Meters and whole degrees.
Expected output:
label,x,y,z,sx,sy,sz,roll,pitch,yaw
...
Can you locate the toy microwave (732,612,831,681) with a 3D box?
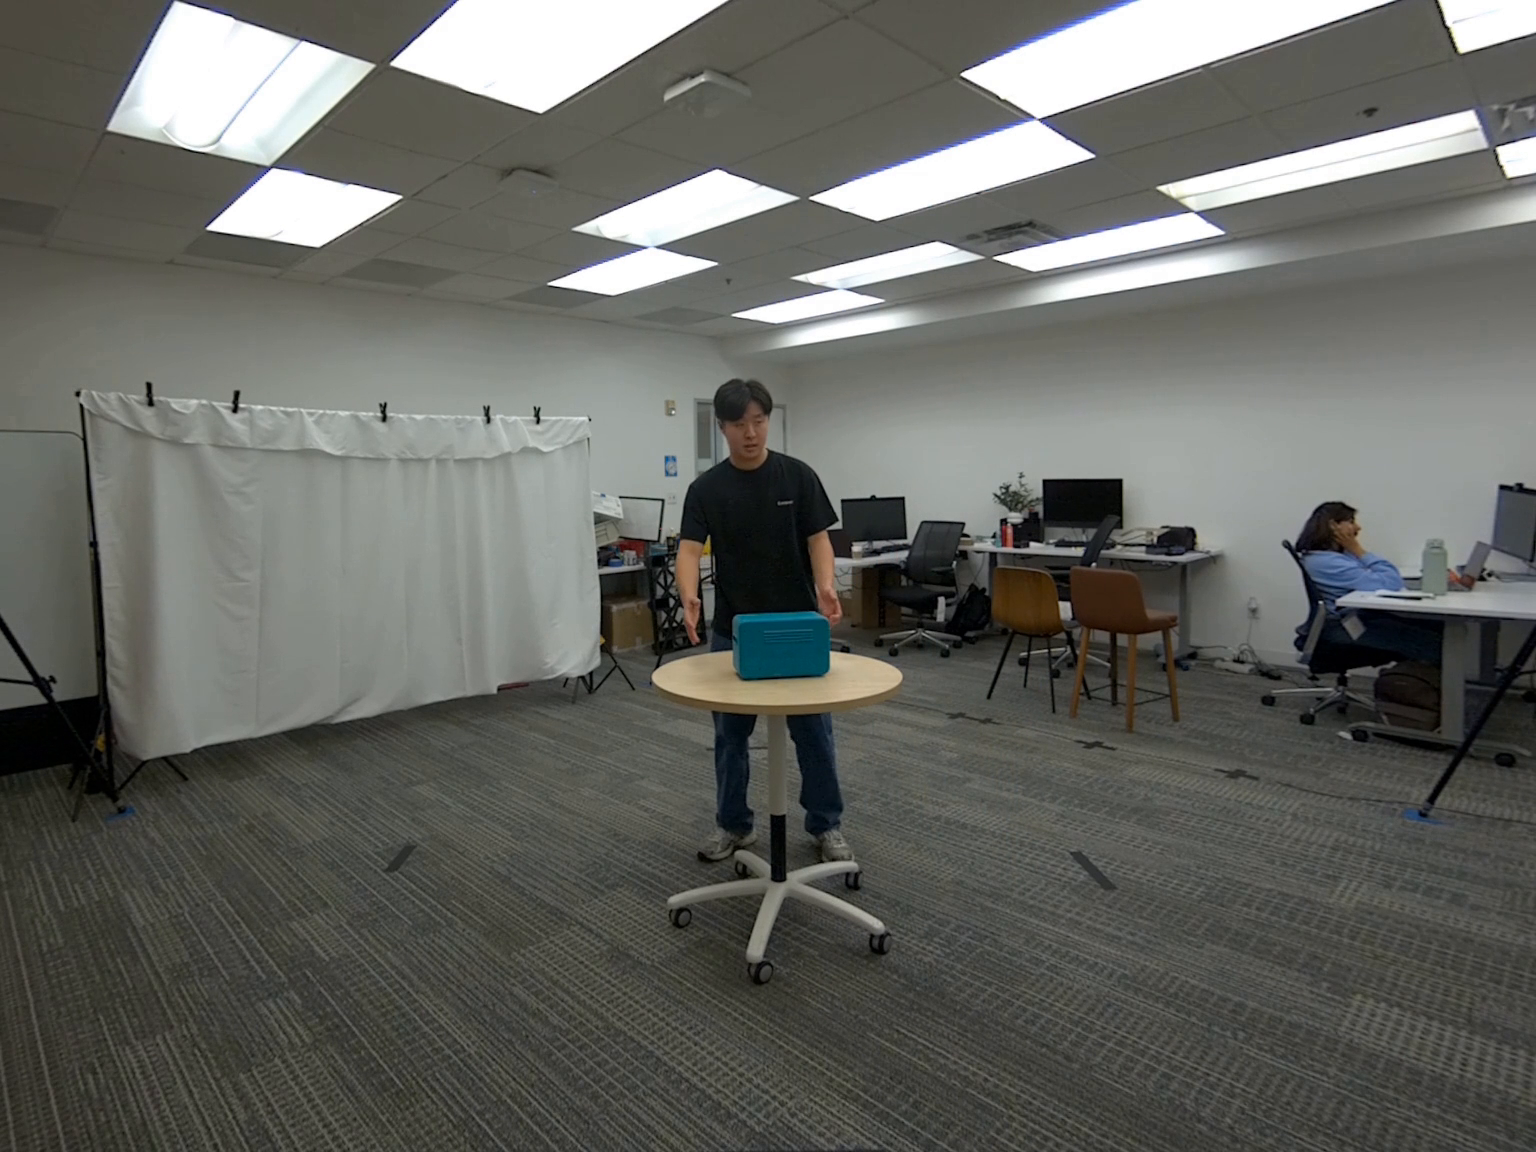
label,x,y,z,sx,sy,sz,roll,pitch,yaw
toy microwave,0.034,0.211,2.616,0.284,0.183,0.154,-2,4,-8
